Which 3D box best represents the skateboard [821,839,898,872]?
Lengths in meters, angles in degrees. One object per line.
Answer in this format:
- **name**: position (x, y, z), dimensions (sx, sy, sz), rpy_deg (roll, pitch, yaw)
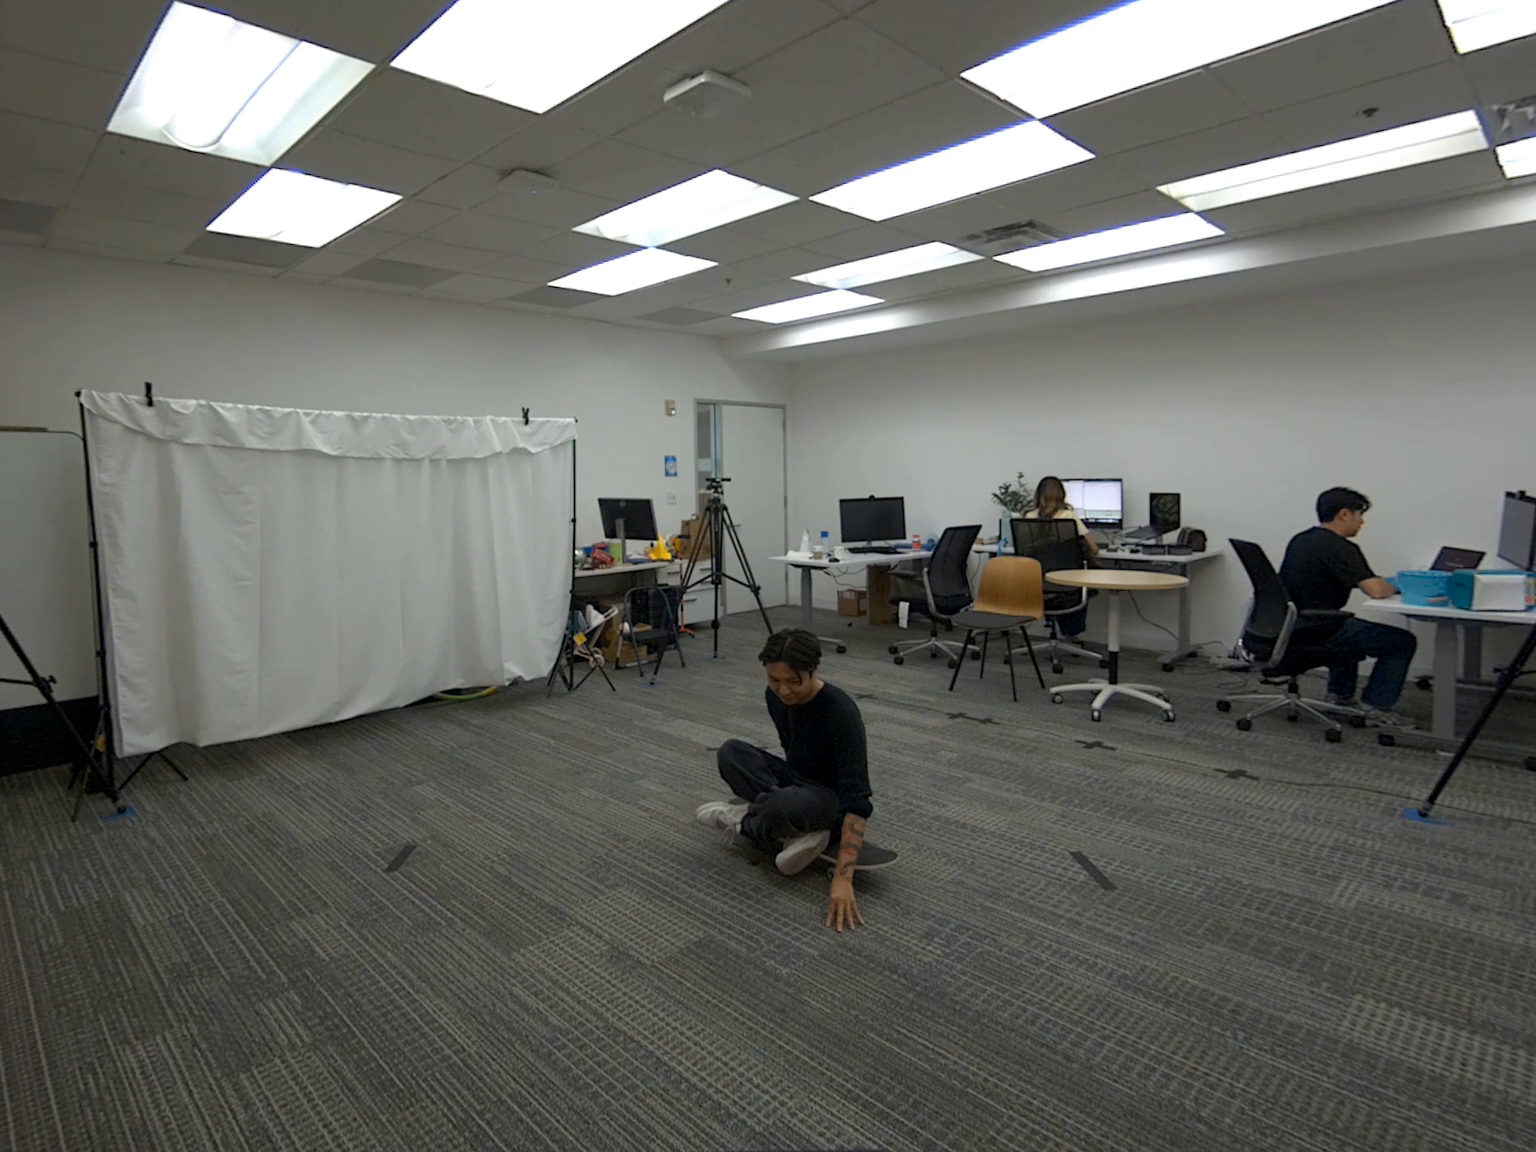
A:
- **skateboard**: position (0.160, 0.996, 3.149), dimensions (0.188, 0.110, 0.809), rpy_deg (-6, 8, -41)
